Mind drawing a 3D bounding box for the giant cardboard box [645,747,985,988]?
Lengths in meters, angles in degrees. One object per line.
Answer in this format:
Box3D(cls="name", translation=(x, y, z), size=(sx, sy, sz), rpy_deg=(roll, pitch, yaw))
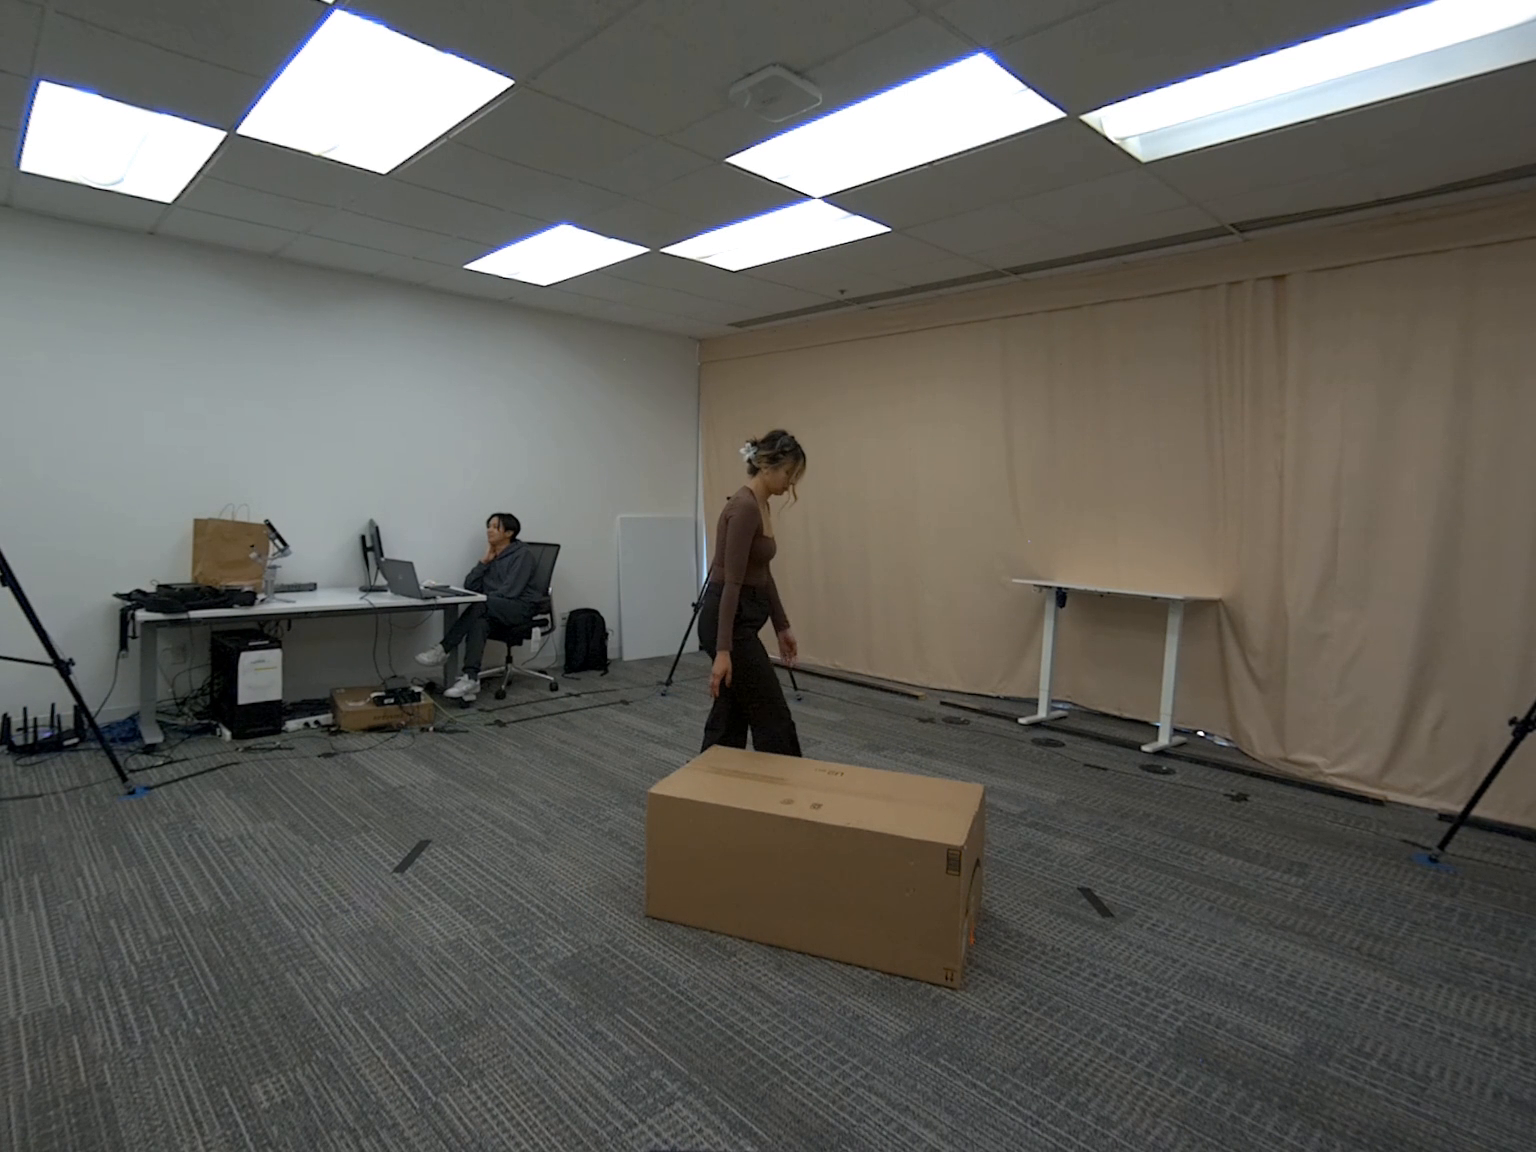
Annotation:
Box3D(cls="giant cardboard box", translation=(0.169, 0.927, 2.844), size=(1.045, 0.446, 0.575), rpy_deg=(4, 4, 22))
